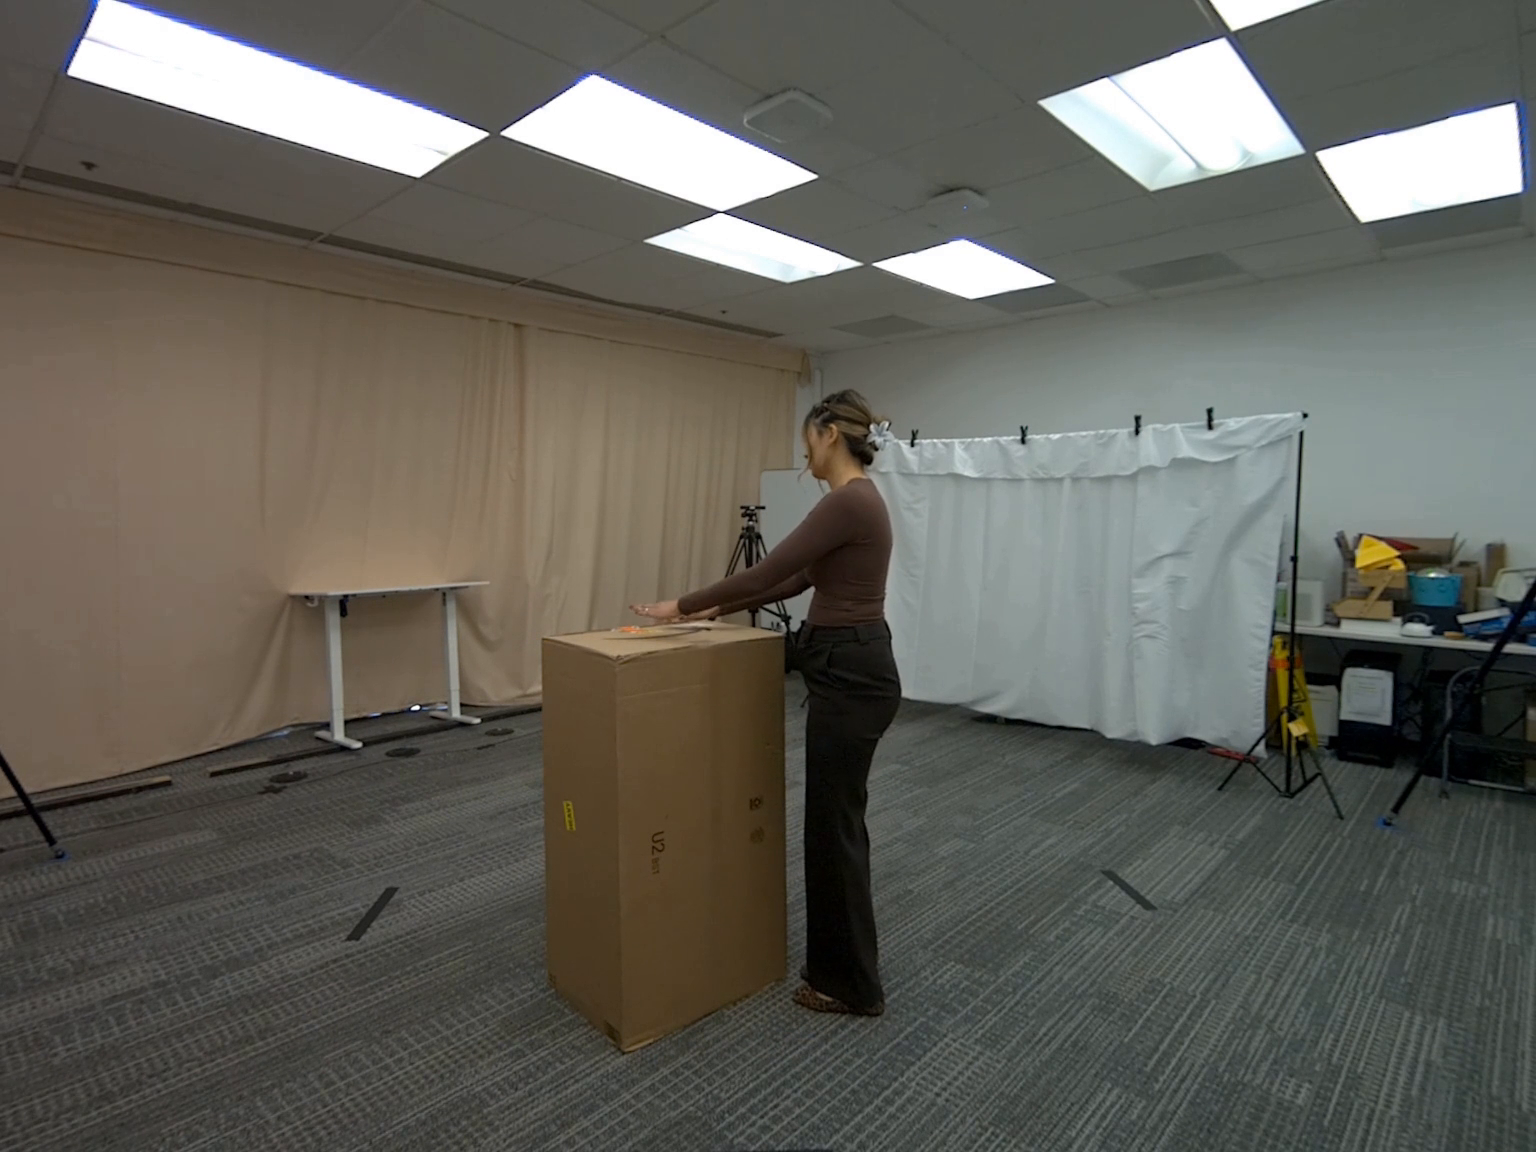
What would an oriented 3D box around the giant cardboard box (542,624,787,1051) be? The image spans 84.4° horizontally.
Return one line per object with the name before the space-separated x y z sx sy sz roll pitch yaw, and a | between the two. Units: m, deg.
giant cardboard box | -0.298 0.680 2.455 0.566 1.025 0.461 -2 3 -39
